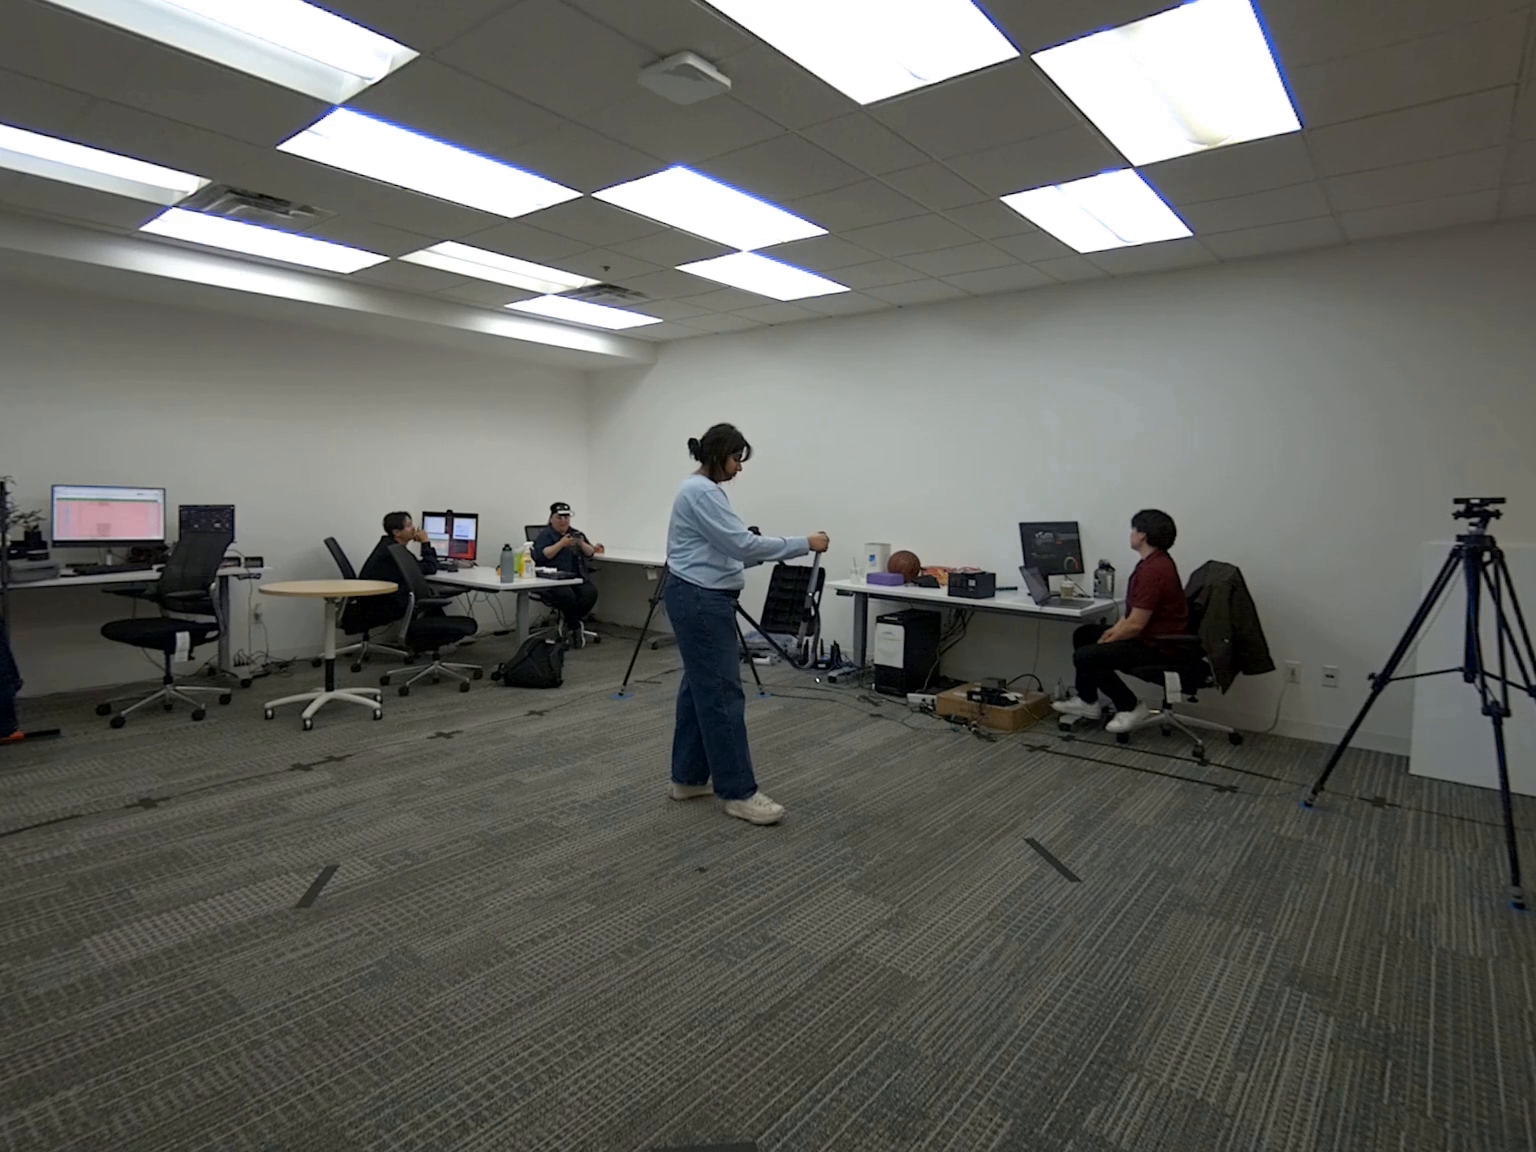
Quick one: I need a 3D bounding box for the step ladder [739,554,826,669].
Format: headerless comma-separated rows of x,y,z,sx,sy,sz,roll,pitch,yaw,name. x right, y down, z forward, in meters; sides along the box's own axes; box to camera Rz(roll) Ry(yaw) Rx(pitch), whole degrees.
0.084,0.134,3.836,0.356,0.438,0.584,4,-35,17,step ladder
